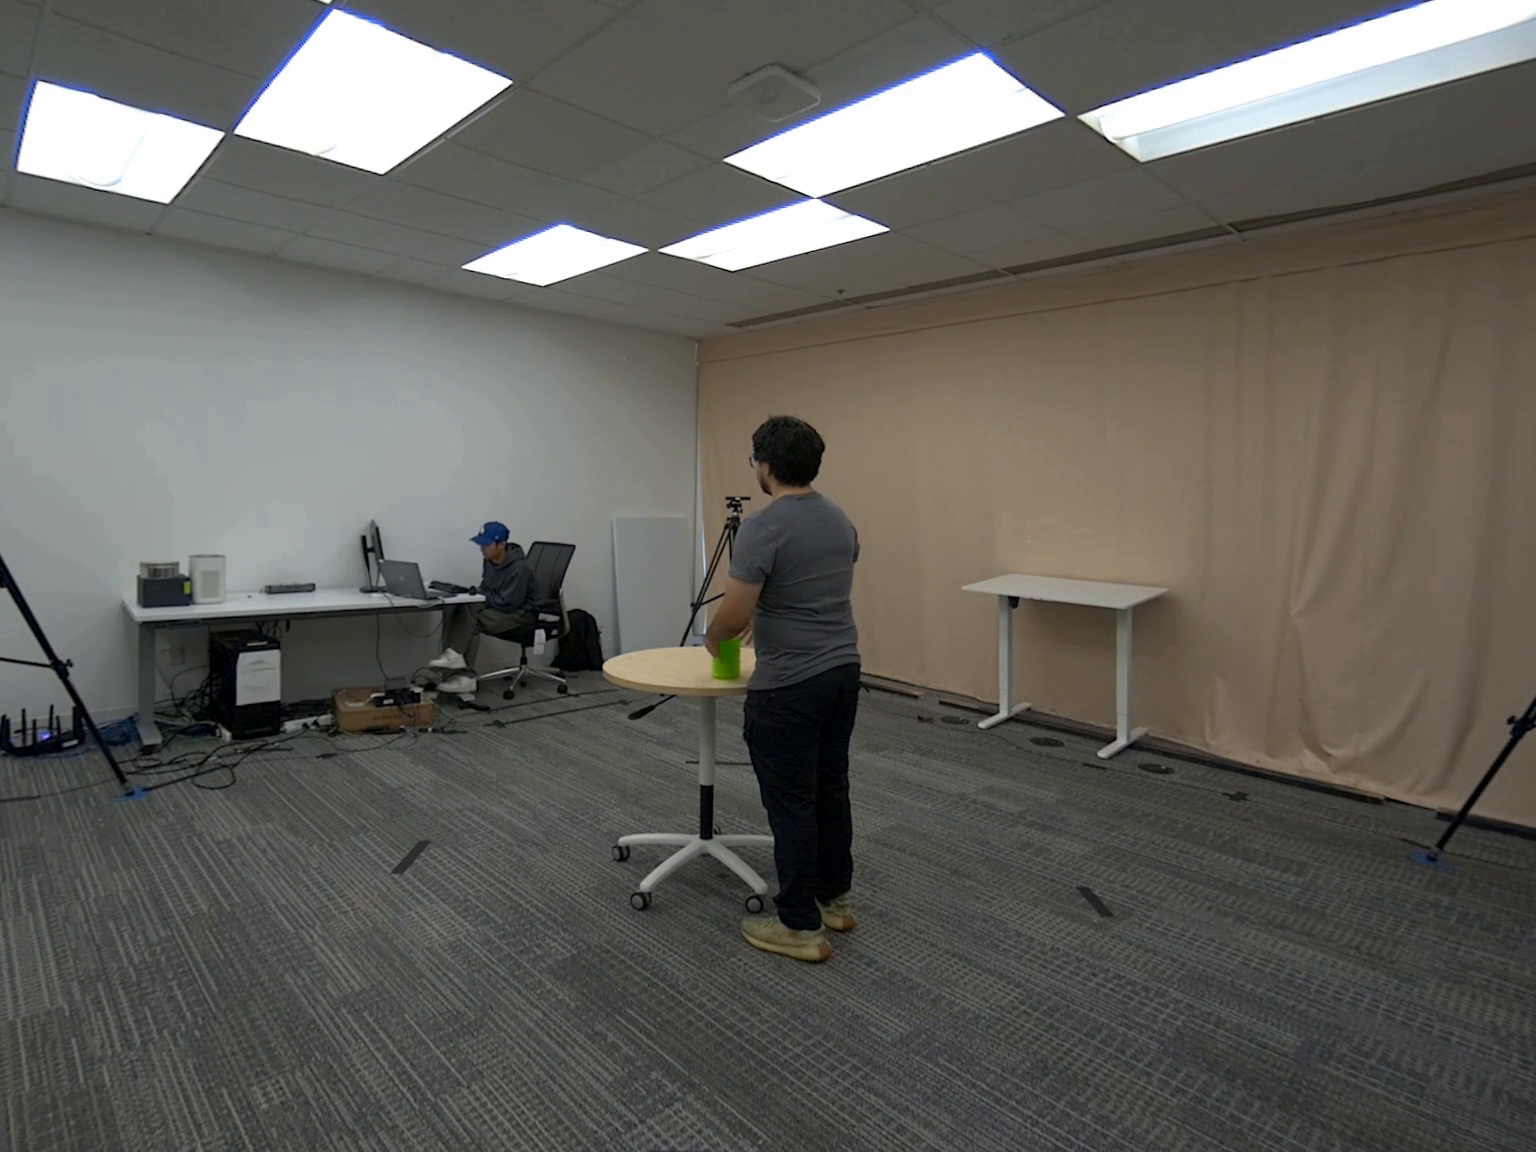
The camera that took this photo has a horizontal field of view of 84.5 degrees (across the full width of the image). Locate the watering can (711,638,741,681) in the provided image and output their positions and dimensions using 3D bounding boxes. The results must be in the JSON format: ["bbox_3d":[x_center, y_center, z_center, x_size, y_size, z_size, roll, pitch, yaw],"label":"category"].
[{"bbox_3d":[-0.125,0.255,2.922,0.100,0.176,0.273,7,6,27],"label":"watering can"}]
